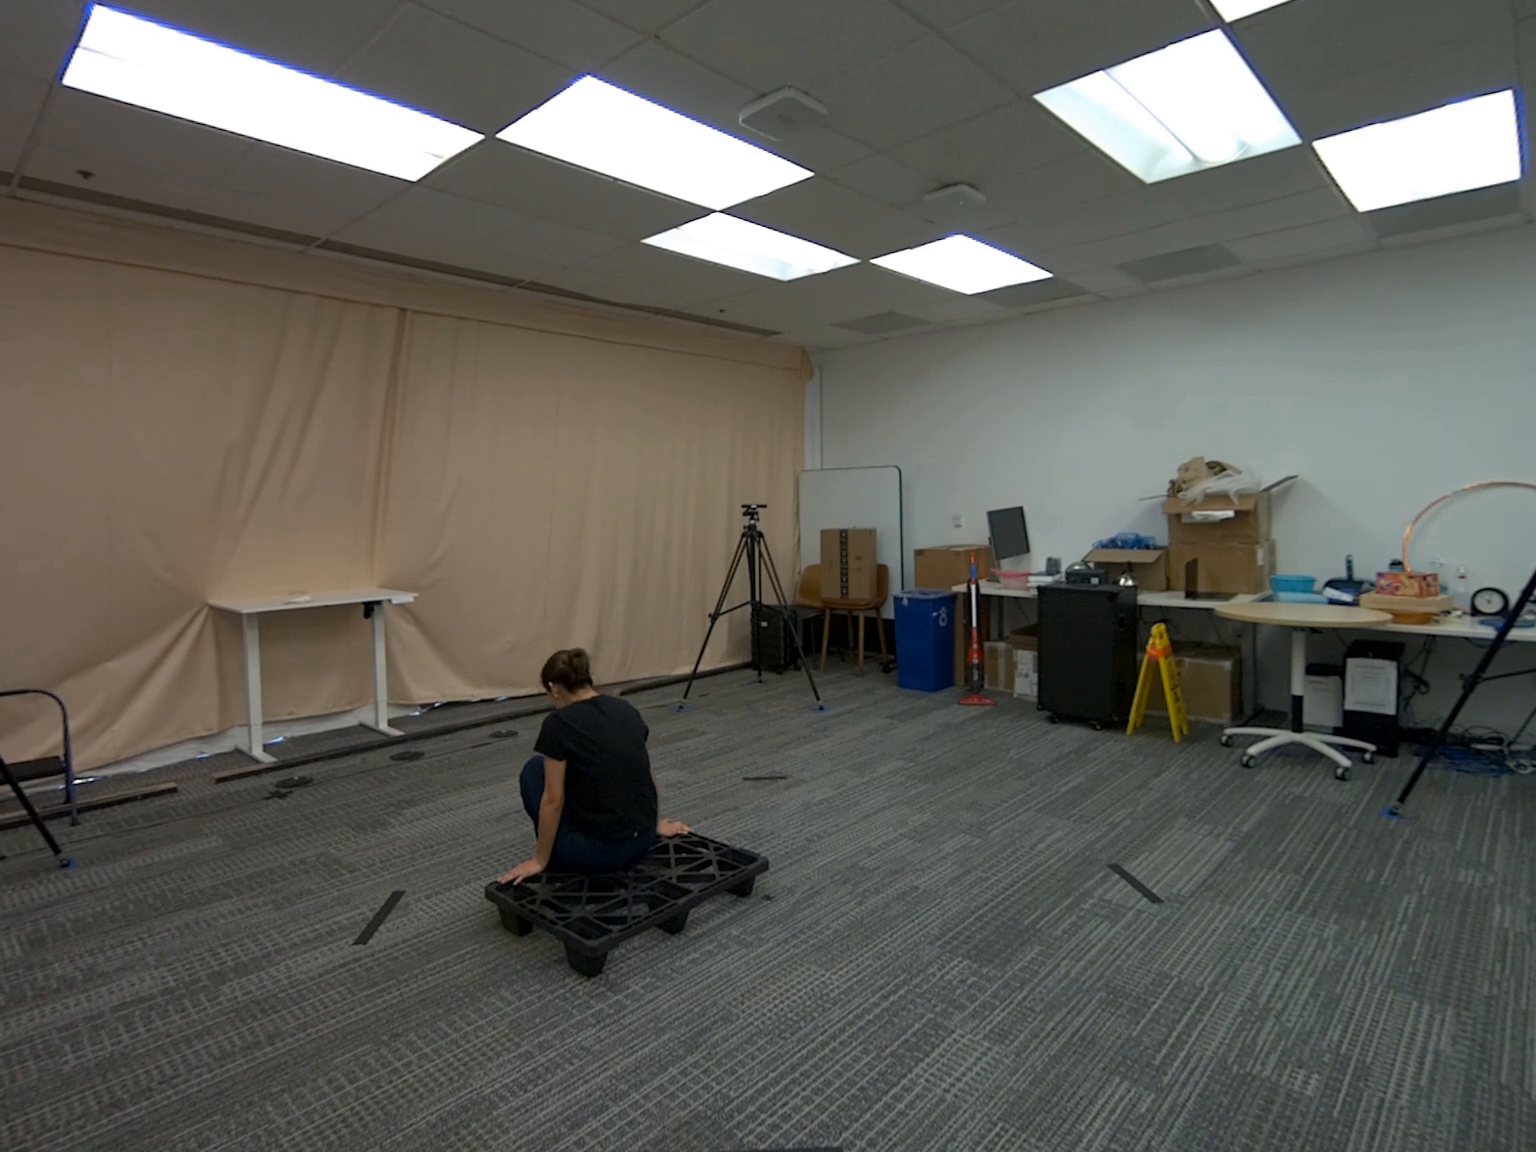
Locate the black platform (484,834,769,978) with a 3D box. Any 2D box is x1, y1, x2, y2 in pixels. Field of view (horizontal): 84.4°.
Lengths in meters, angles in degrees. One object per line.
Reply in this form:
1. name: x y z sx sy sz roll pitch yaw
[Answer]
1. black platform: -0.445 1.091 2.907 0.625 0.143 0.782 4 8 41
